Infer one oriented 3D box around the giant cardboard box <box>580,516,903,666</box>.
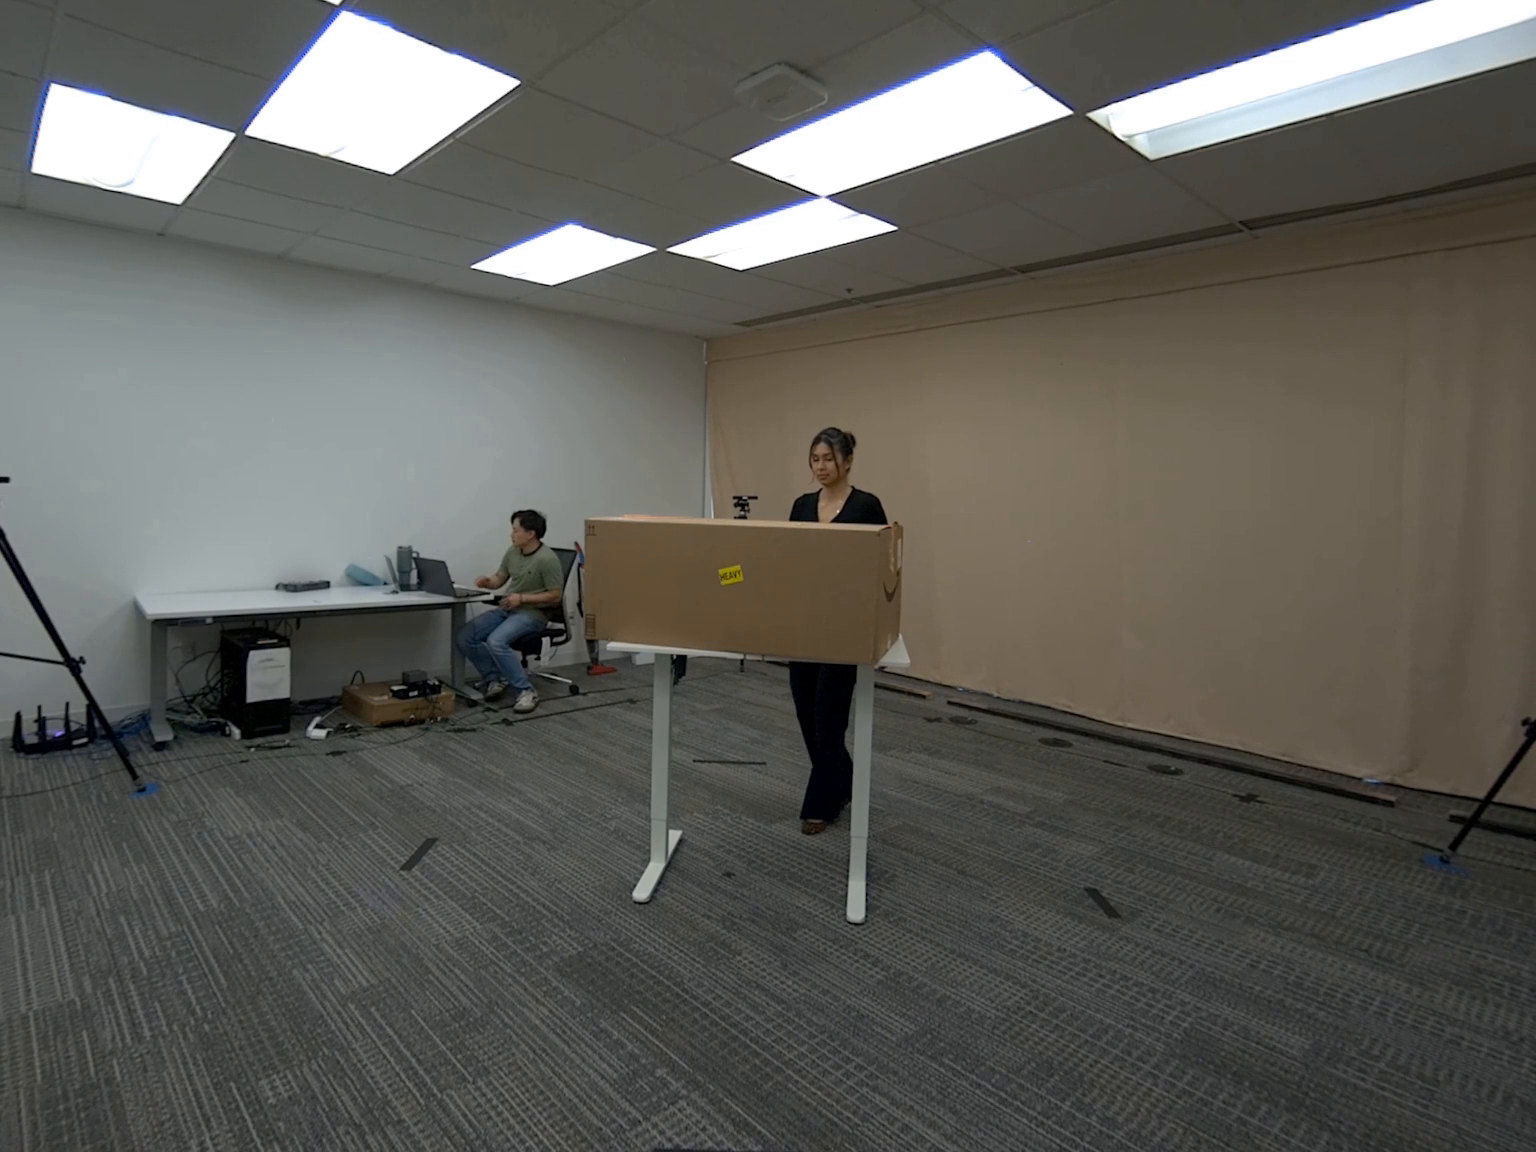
[{"bbox_3d":[-0.085,0.015,3.027,1.042,0.425,0.570,4,5,20],"label":"giant cardboard box"}]
